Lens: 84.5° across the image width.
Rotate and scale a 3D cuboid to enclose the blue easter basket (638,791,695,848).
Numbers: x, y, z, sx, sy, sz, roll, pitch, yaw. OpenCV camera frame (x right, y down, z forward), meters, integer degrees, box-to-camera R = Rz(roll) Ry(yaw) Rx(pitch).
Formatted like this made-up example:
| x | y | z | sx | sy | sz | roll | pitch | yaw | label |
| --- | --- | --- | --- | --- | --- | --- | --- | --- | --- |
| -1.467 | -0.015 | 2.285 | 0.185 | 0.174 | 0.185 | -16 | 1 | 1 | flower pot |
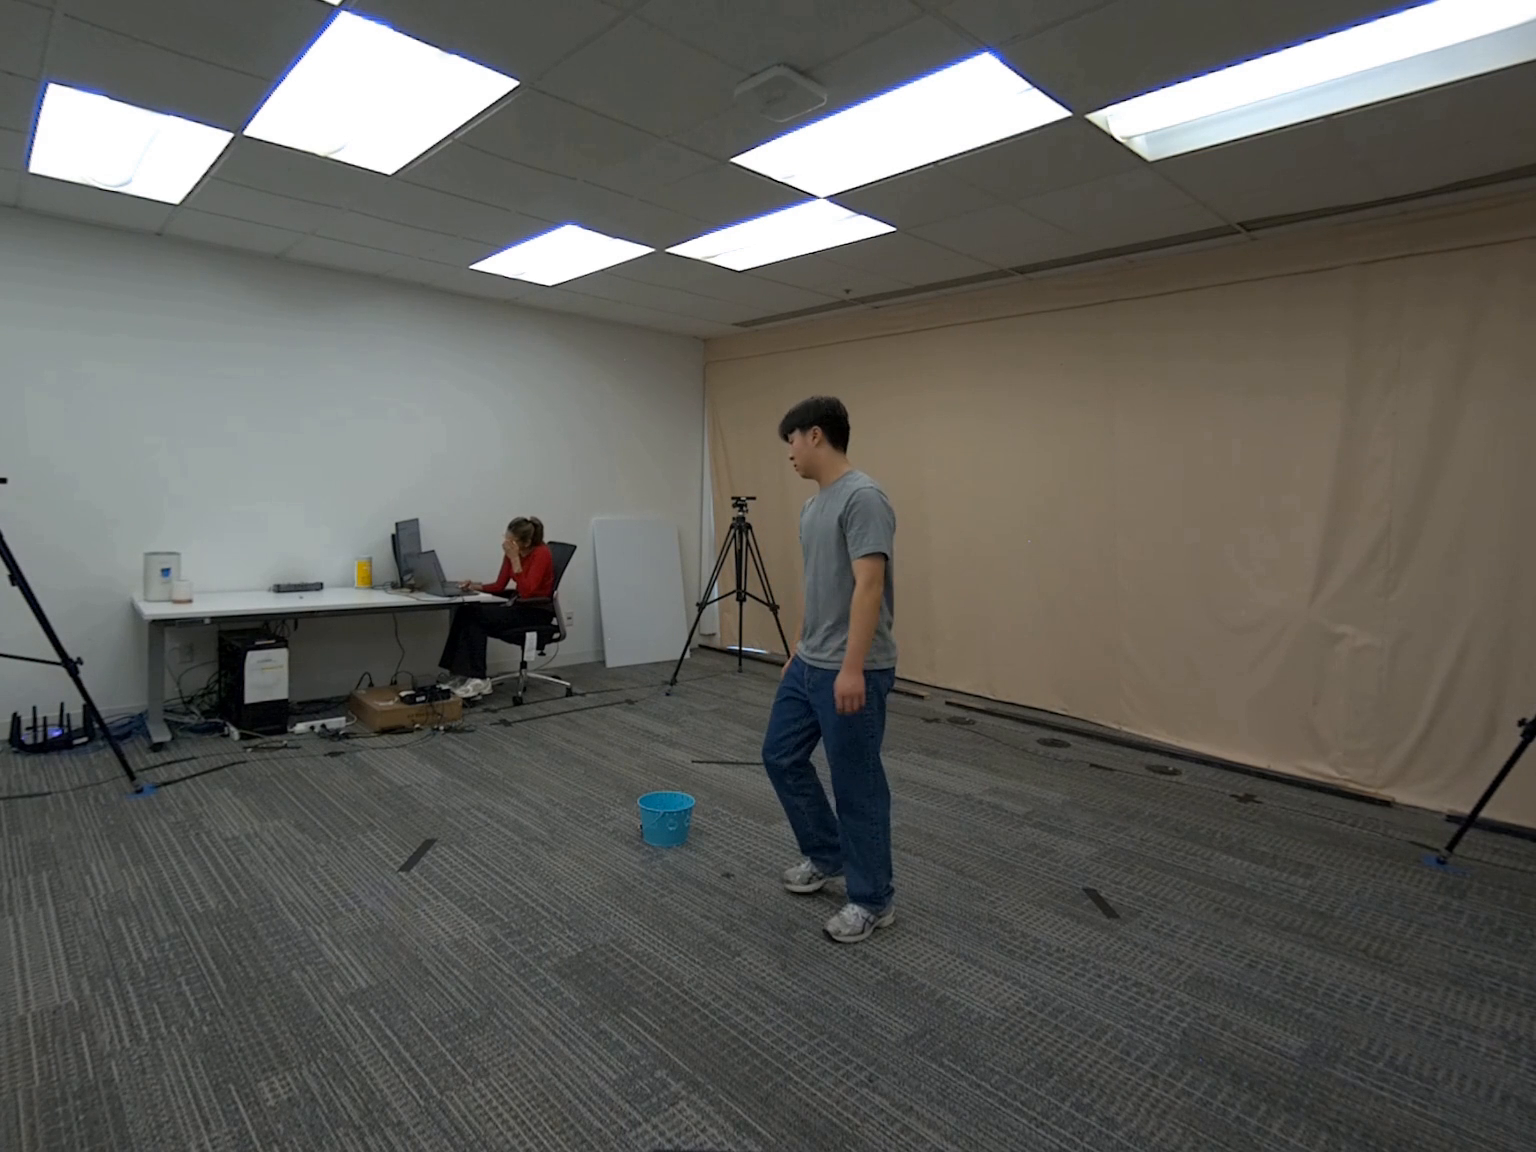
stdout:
| x | y | z | sx | sy | sz | roll | pitch | yaw | label |
| --- | --- | --- | --- | --- | --- | --- | --- | --- | --- |
| -0.428 | 0.992 | 3.438 | 0.243 | 0.155 | 0.244 | 2 | 5 | -2 | blue easter basket |
